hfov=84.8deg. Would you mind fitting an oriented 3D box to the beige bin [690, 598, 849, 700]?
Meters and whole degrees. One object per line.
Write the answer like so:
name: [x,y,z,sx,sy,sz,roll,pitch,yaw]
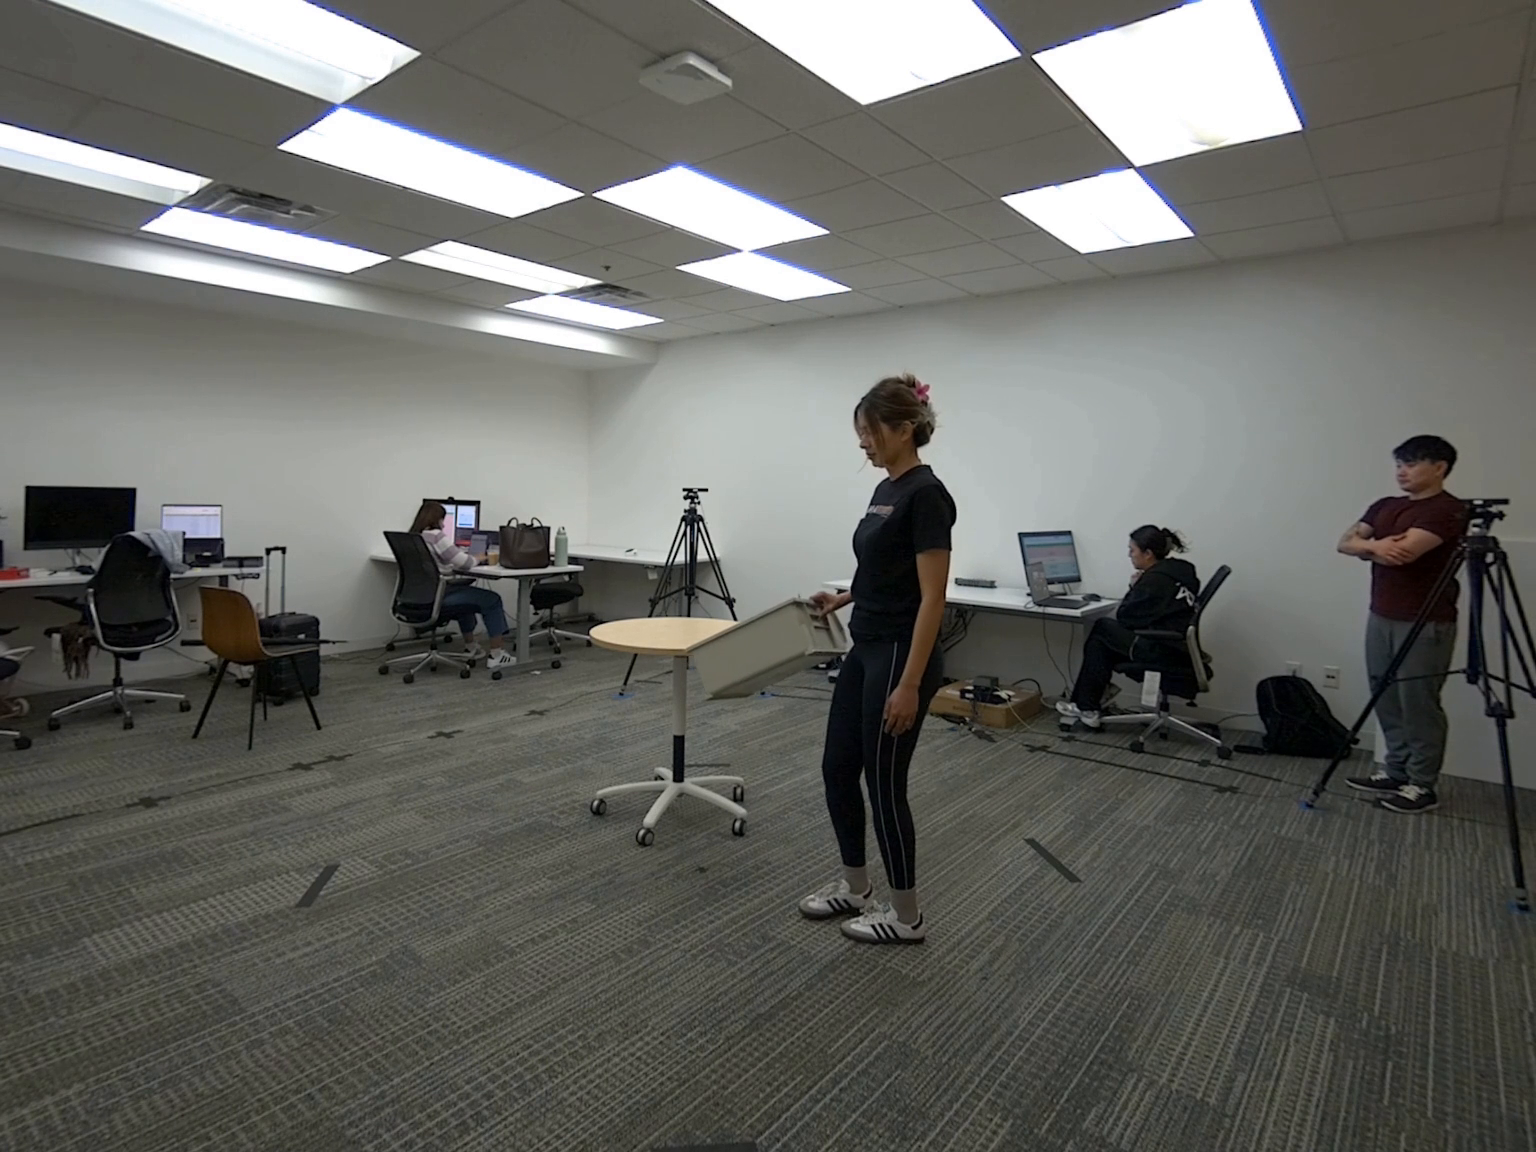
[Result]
beige bin: [0.003,0.254,2.838,0.427,0.193,0.365,-26,-16,21]
